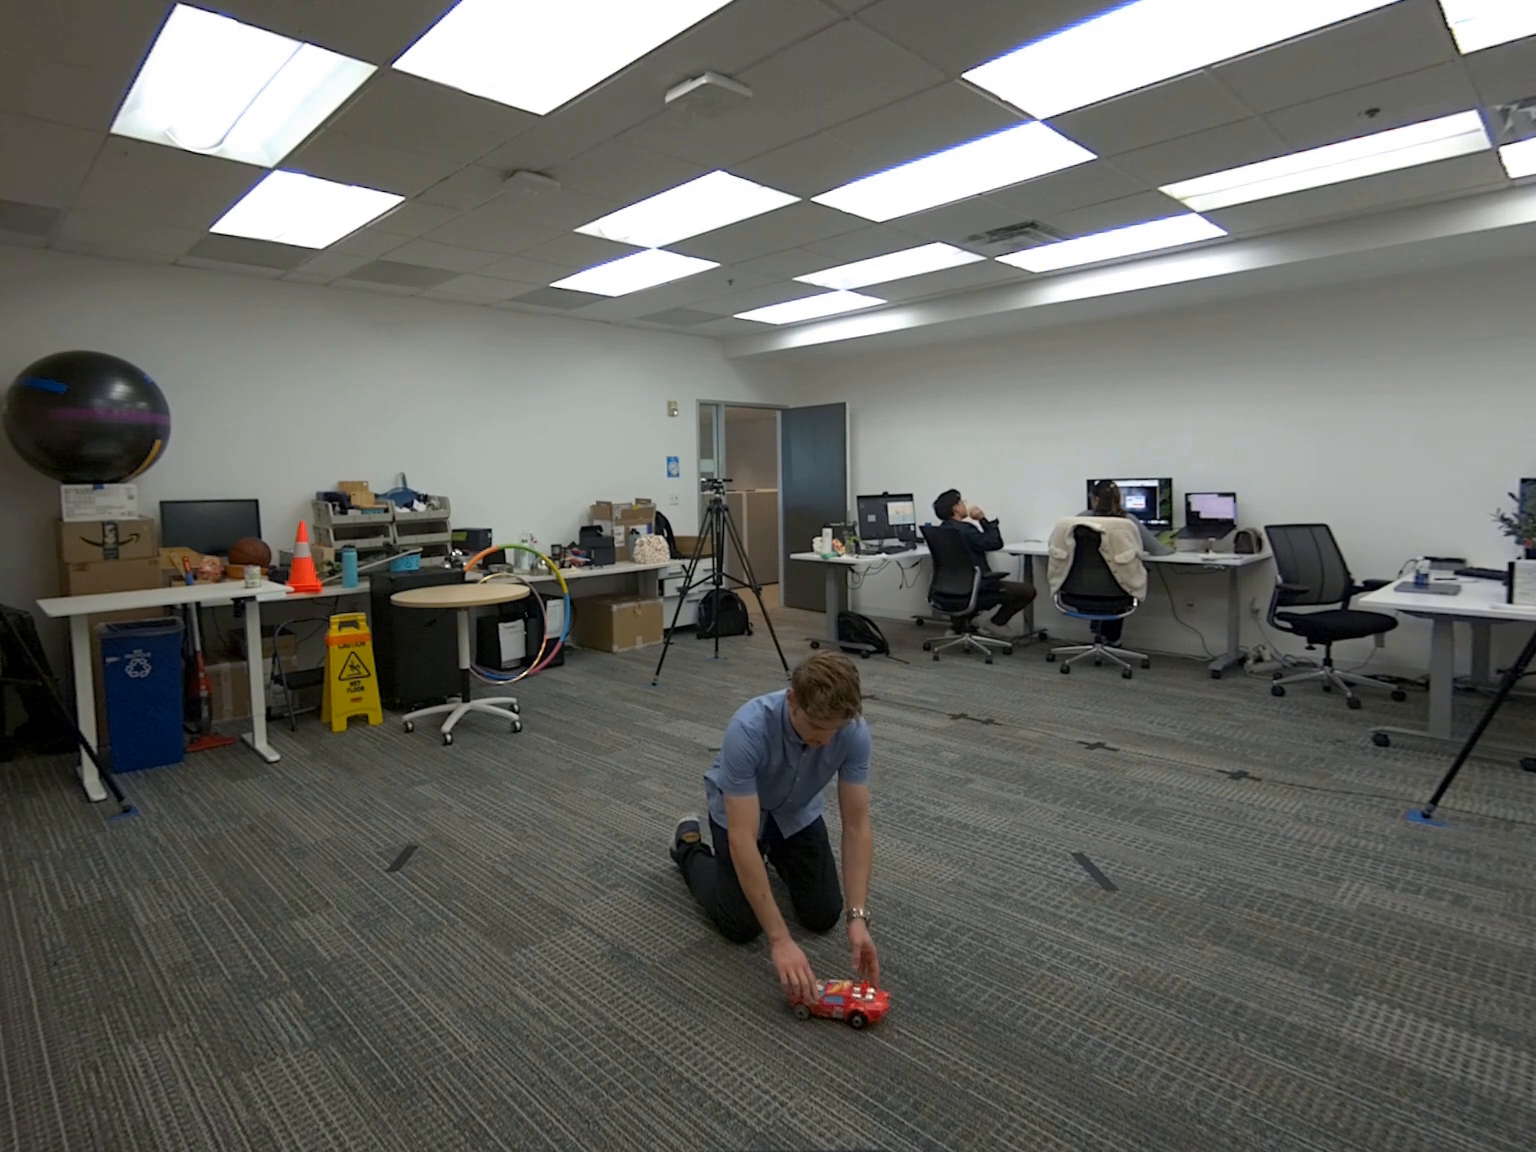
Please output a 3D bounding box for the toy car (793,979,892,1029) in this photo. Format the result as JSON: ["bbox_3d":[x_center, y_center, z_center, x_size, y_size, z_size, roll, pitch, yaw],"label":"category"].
[{"bbox_3d":[0.189,1.113,2.239,0.257,0.083,0.129,-15,2,16],"label":"toy car"}]
